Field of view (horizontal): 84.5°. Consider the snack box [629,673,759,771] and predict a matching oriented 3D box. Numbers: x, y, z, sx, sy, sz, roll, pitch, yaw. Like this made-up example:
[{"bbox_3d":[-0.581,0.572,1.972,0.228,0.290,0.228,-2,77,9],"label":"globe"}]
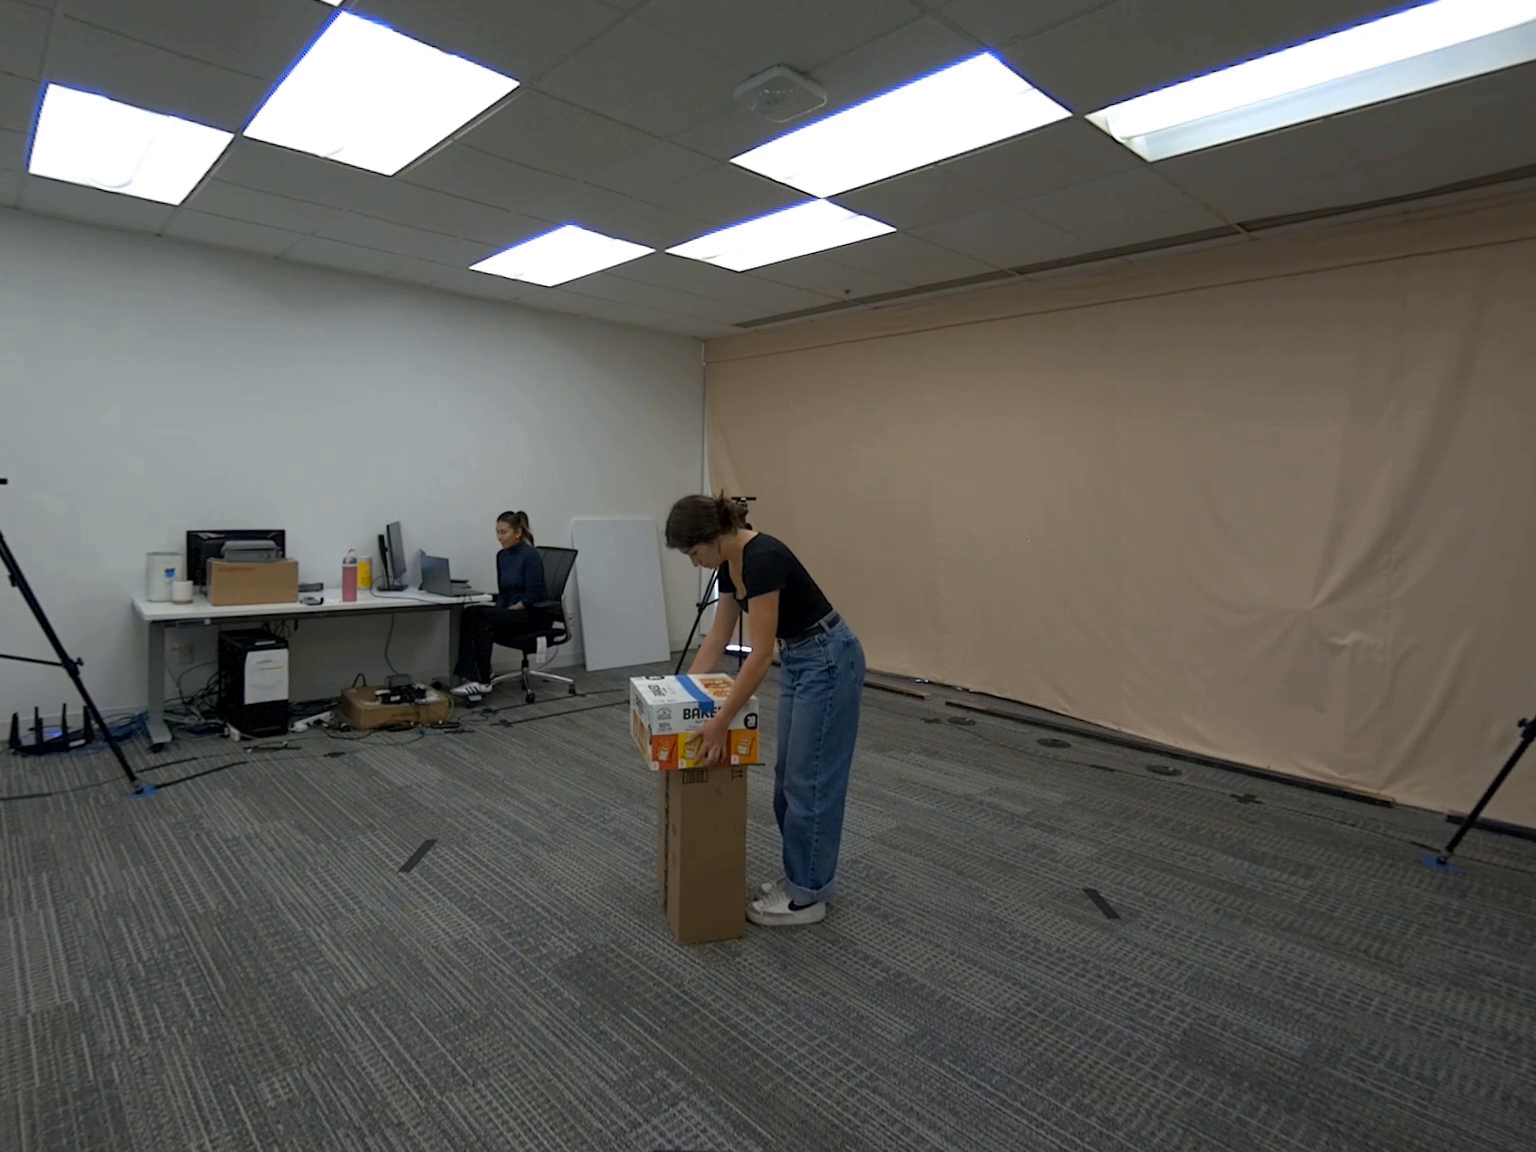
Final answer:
[{"bbox_3d":[-0.256,0.466,2.764,0.336,0.205,0.411,0,5,-17],"label":"snack box"}]
